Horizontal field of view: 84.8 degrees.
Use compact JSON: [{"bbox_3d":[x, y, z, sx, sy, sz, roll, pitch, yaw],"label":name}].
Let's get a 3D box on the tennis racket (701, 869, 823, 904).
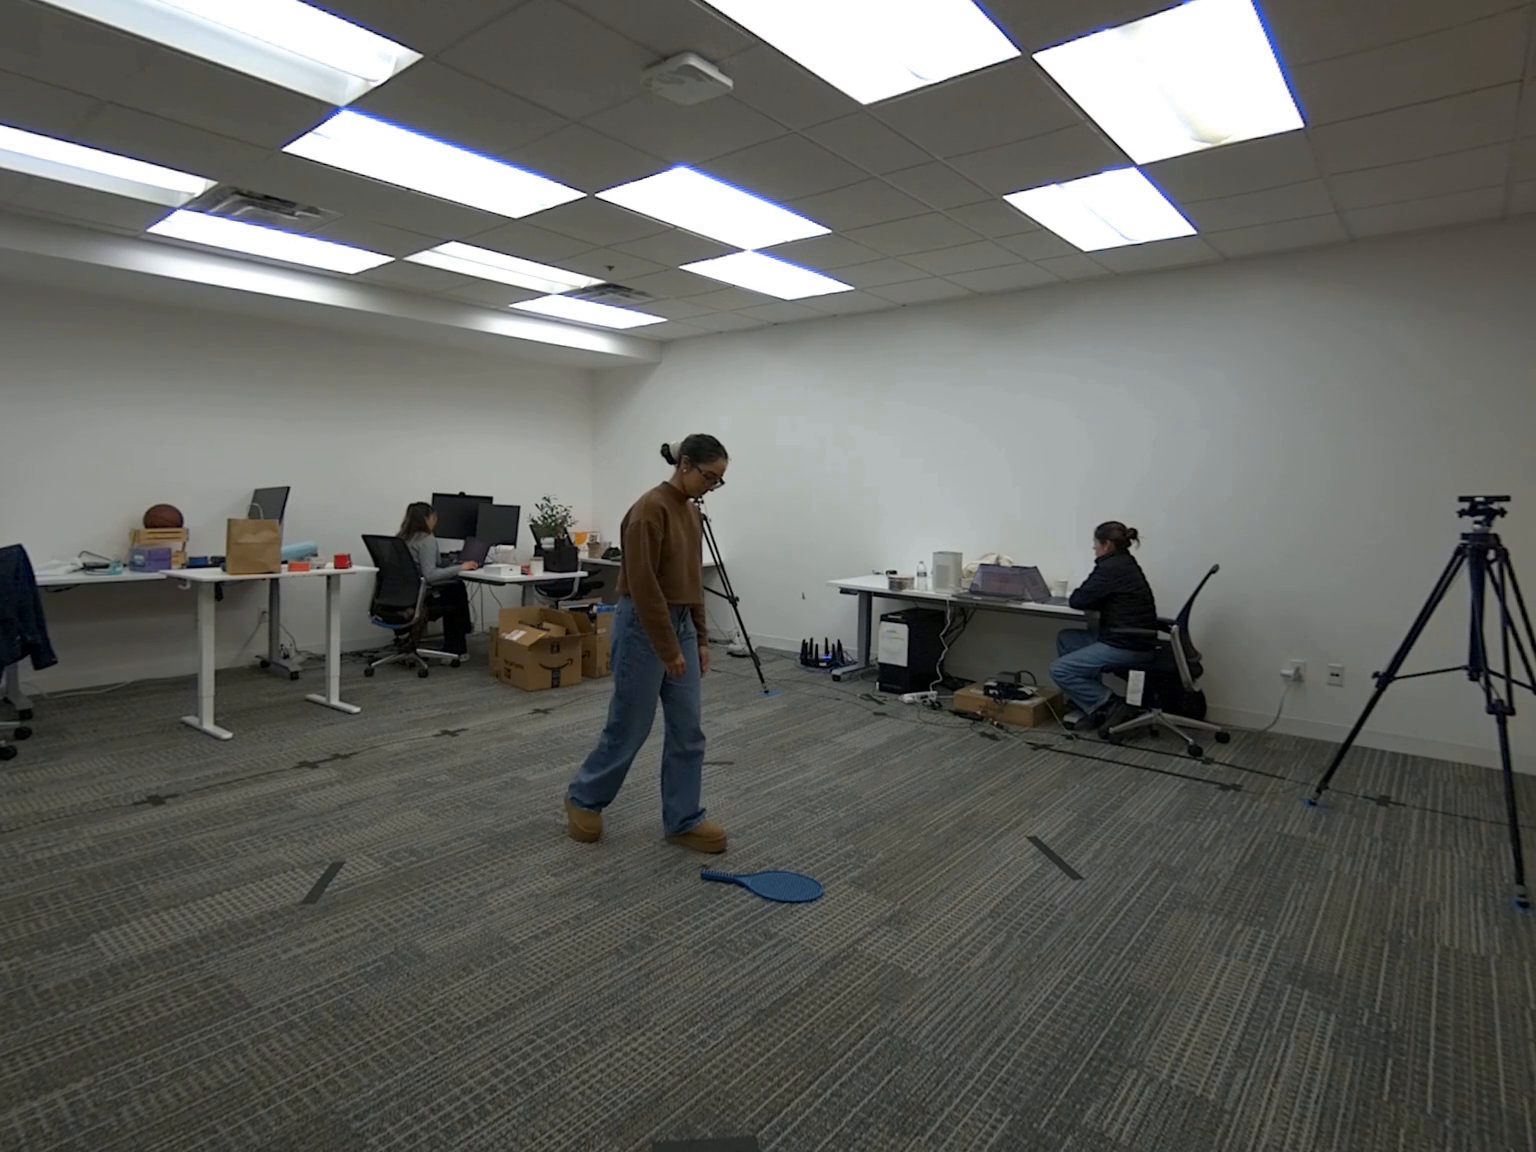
[{"bbox_3d":[-0.030,1.067,2.980,0.439,0.031,0.211,4,6,12],"label":"tennis racket"}]
